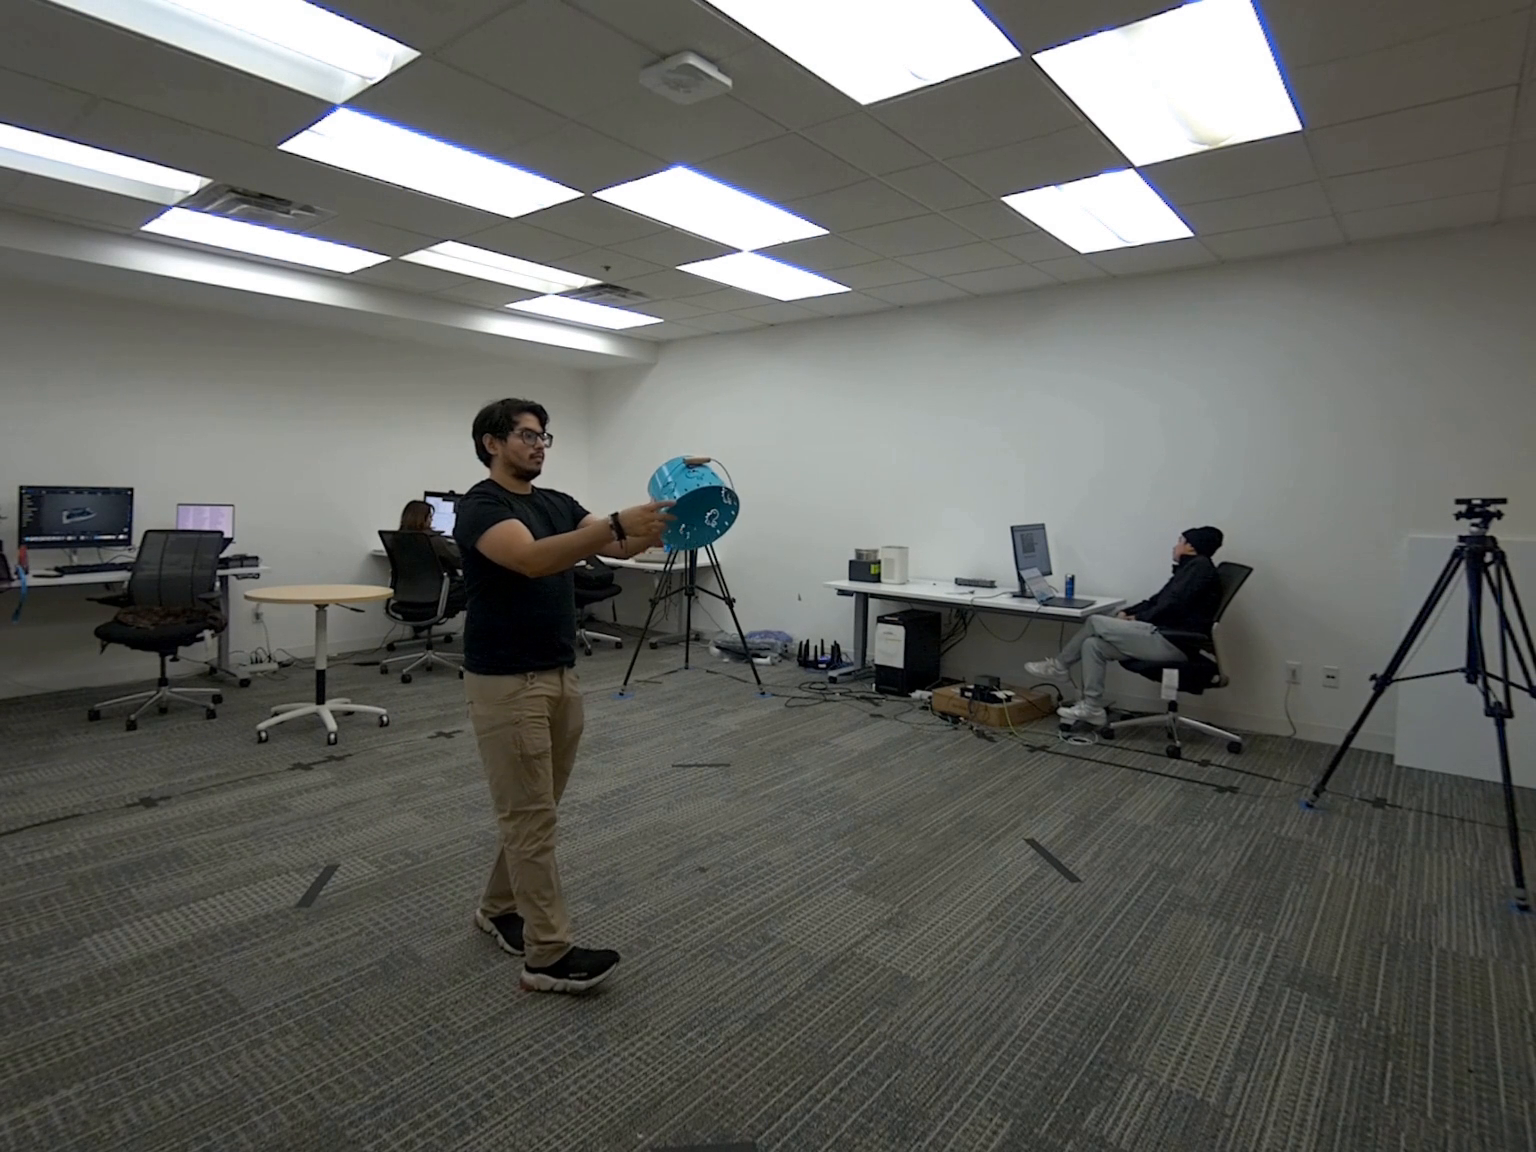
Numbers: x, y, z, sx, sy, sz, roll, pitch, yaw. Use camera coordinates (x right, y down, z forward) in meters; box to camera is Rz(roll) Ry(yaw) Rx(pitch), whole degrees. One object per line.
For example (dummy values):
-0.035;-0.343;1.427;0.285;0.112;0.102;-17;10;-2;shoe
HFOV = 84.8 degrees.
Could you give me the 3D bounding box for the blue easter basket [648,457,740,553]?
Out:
-0.228;-0.199;2.265;0.237;0.240;0.162;-2;43;-32;blue easter basket
